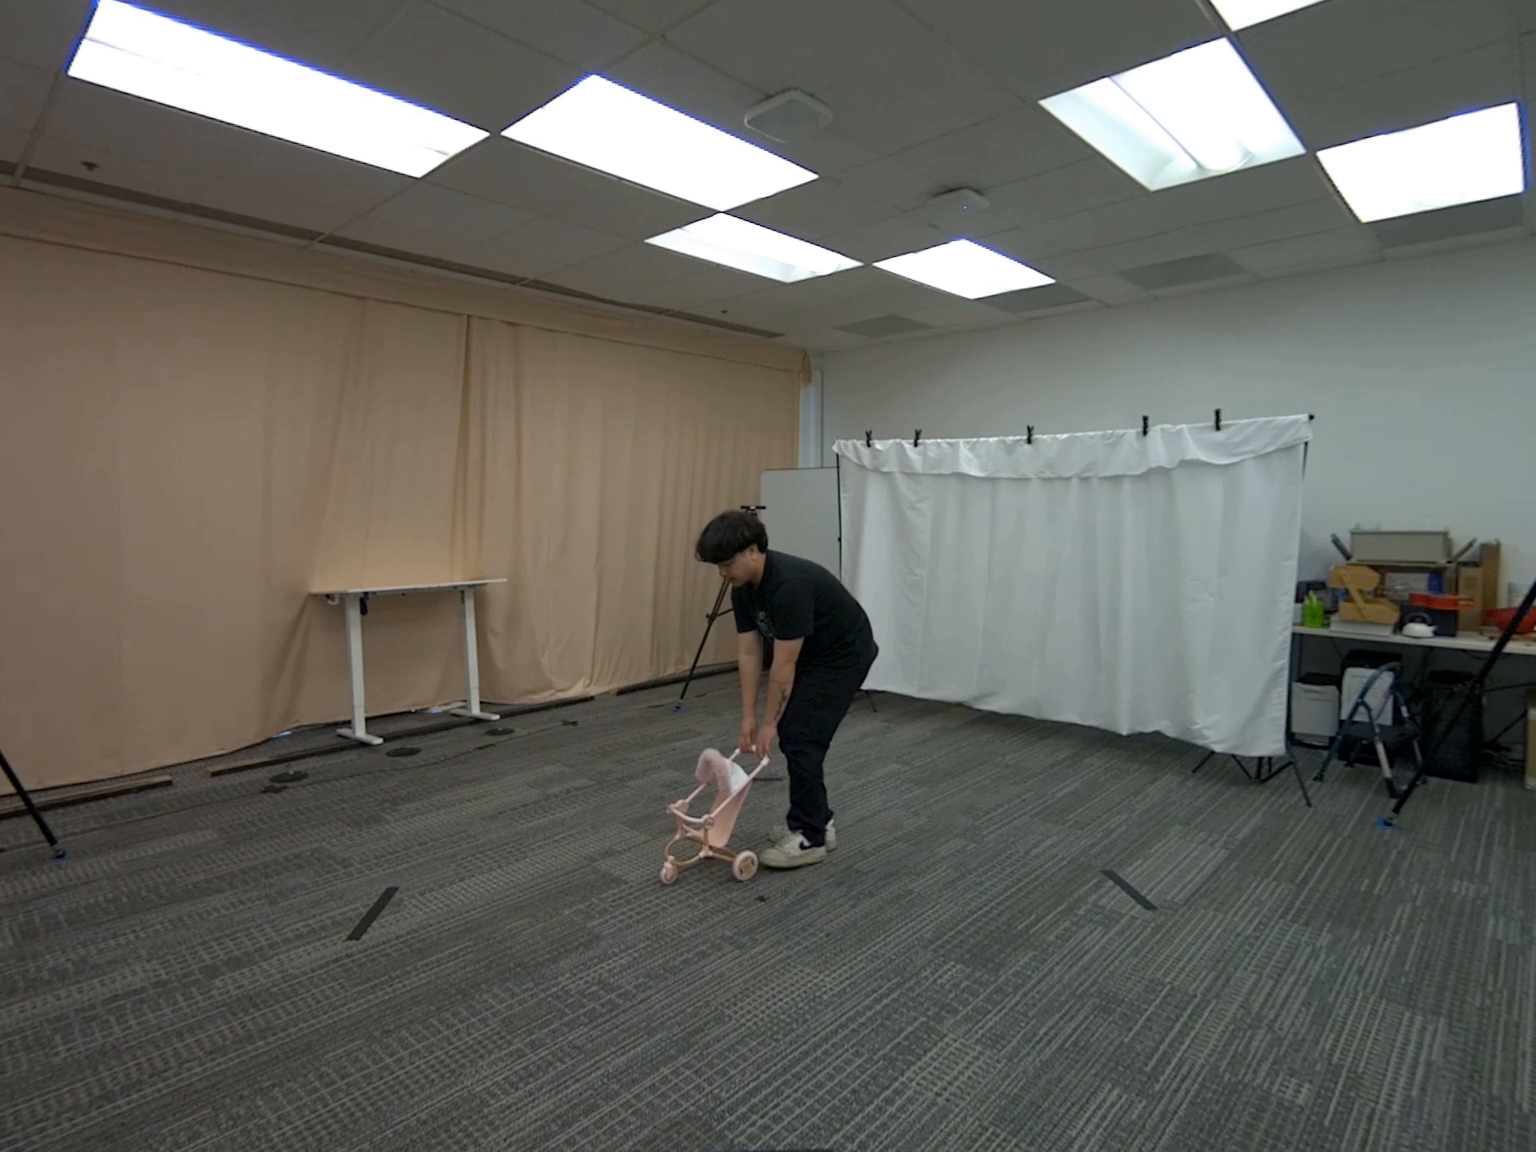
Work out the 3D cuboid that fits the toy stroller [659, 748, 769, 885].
[{"bbox_3d":[-0.213,0.898,3.190,0.331,0.535,0.289,14,-4,-29],"label":"toy stroller"}]
